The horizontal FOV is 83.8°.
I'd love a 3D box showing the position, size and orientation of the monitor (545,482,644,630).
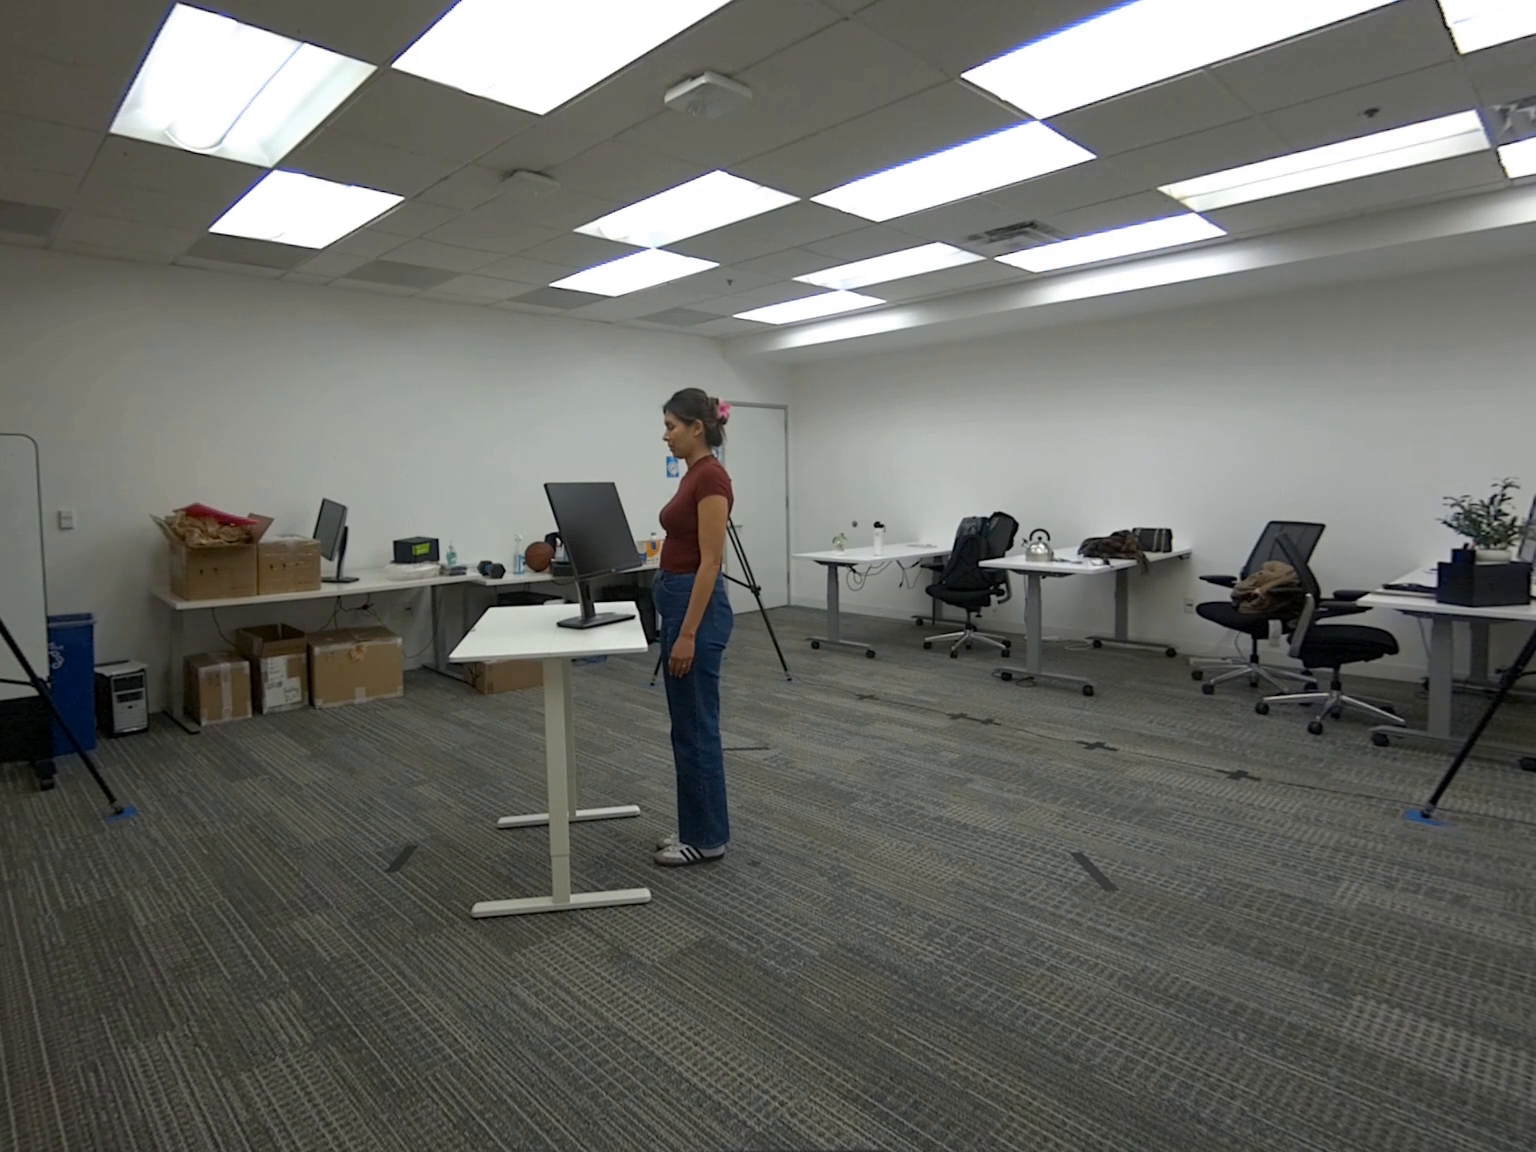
[{"bbox_3d":[-0.650,-0.084,3.147,0.190,0.521,0.533,-4,3,14],"label":"monitor"}]
